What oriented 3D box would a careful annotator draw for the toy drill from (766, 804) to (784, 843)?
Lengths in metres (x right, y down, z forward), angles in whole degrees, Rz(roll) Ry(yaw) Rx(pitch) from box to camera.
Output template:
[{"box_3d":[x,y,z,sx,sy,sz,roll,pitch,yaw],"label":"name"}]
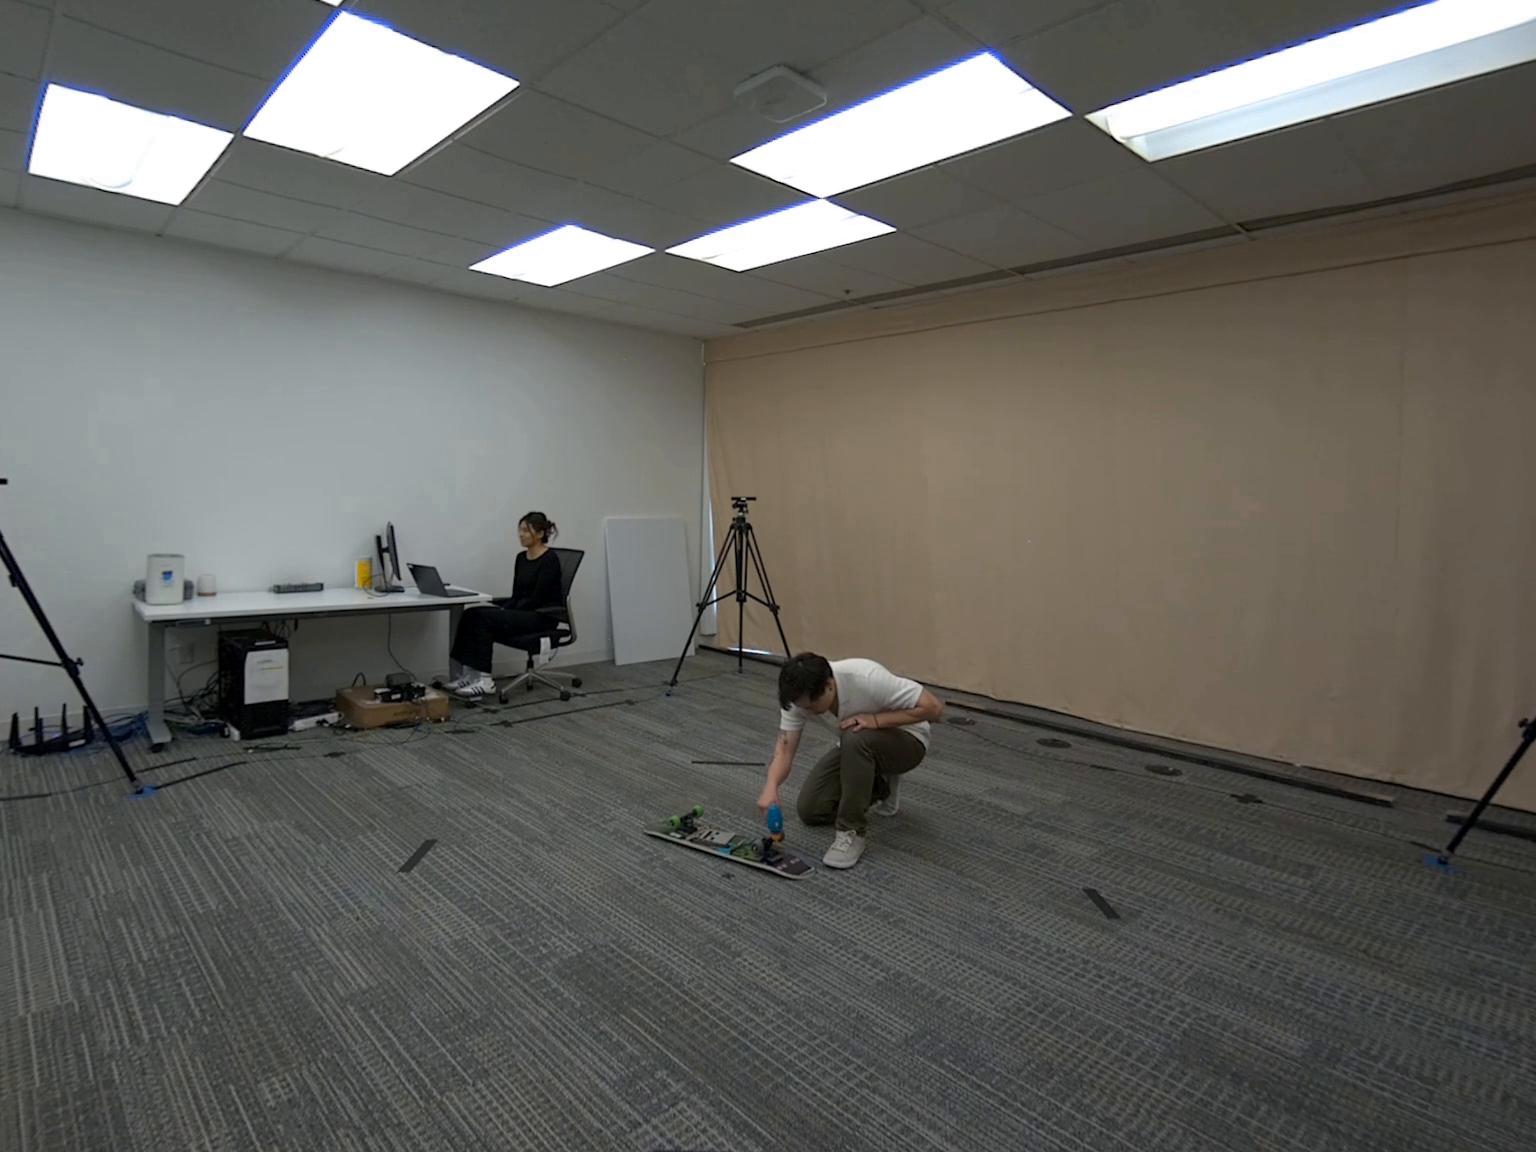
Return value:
[{"box_3d":[0.013,0.955,3.255,0.061,0.169,0.147,-10,8,1],"label":"toy drill"}]
